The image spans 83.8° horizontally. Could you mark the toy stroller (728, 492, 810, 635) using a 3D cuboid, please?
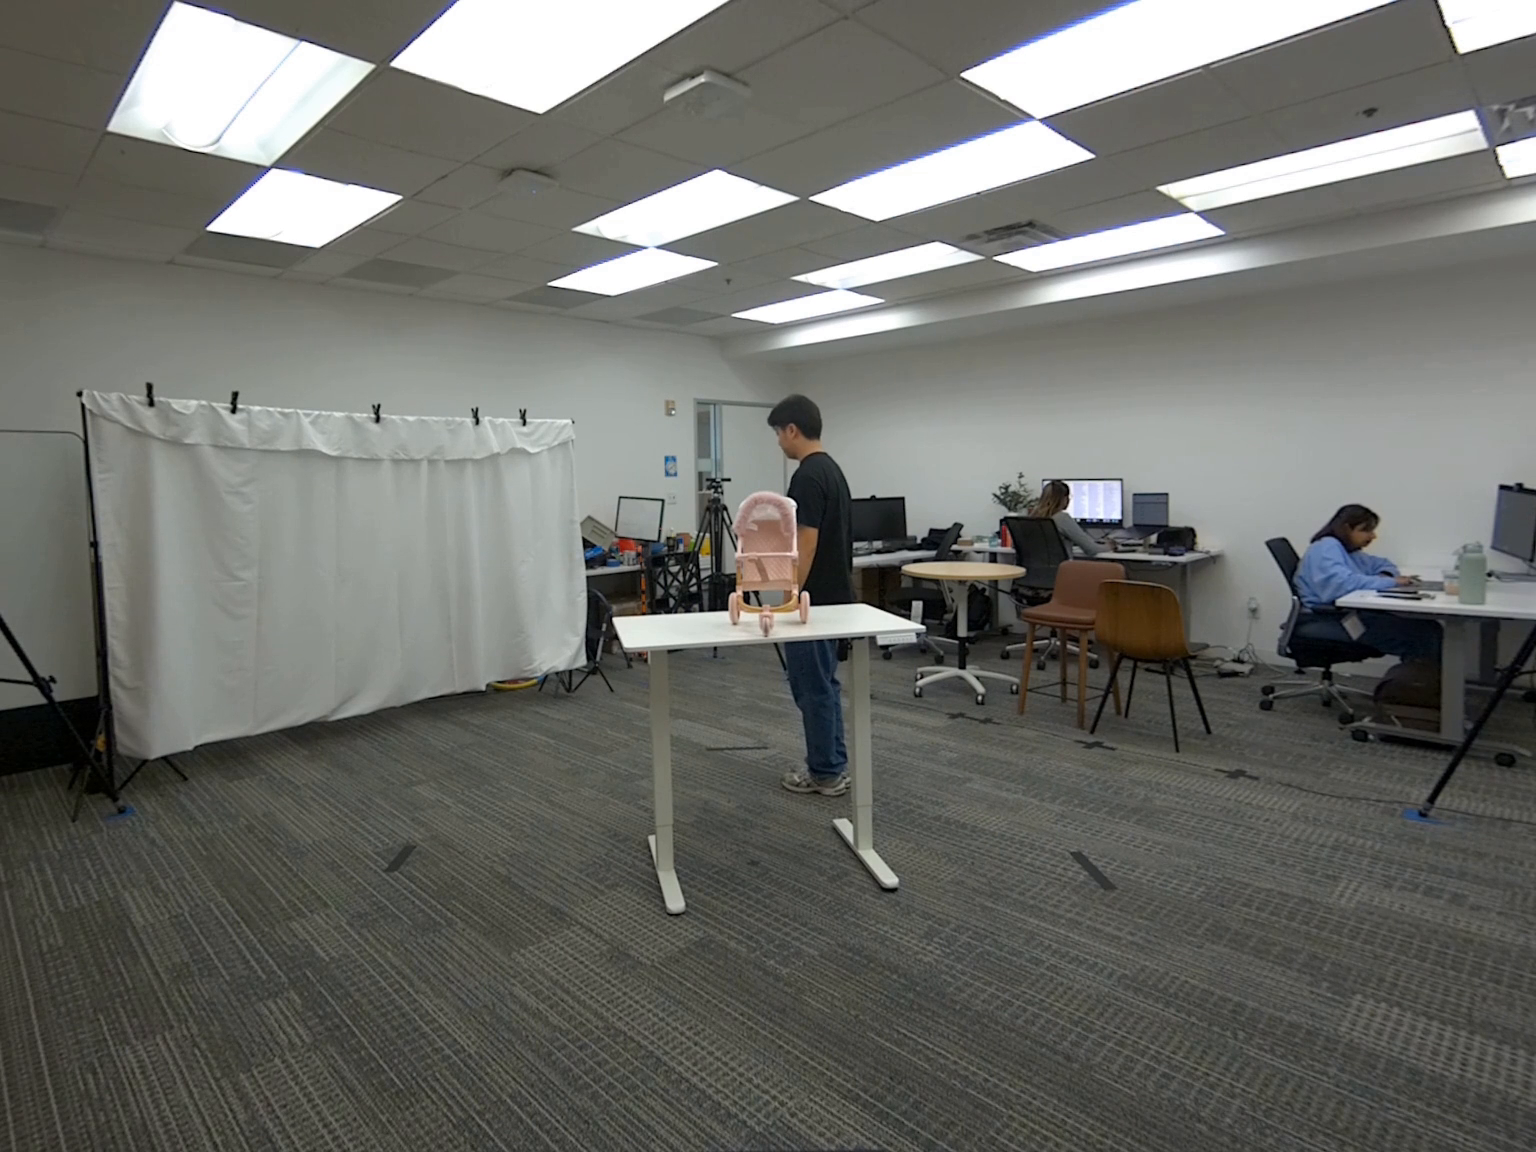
[{"bbox_3d":[-0.005,-0.048,2.936,0.284,0.540,0.335,-1,-11,8],"label":"toy stroller"}]
